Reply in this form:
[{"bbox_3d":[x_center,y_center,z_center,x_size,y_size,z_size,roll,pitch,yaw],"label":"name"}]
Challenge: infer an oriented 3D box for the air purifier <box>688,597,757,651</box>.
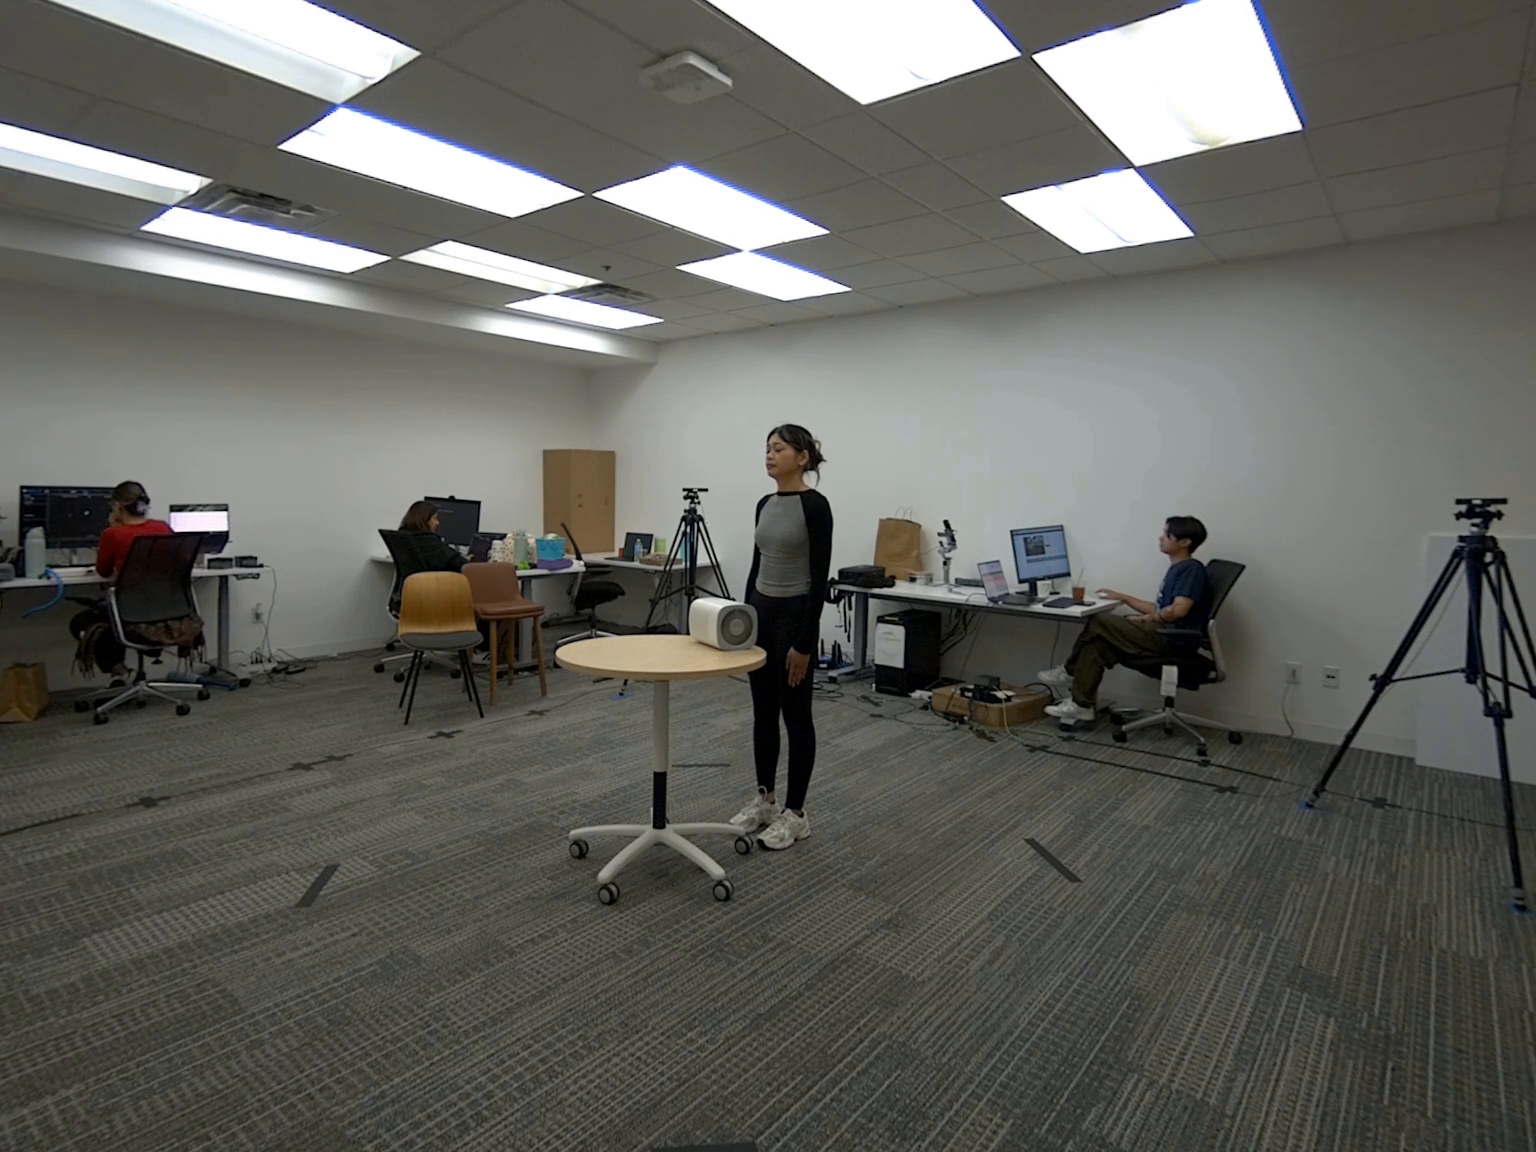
[{"bbox_3d":[-0.193,0.175,3.264,0.166,0.171,0.273,-2,4,-30],"label":"air purifier"}]
